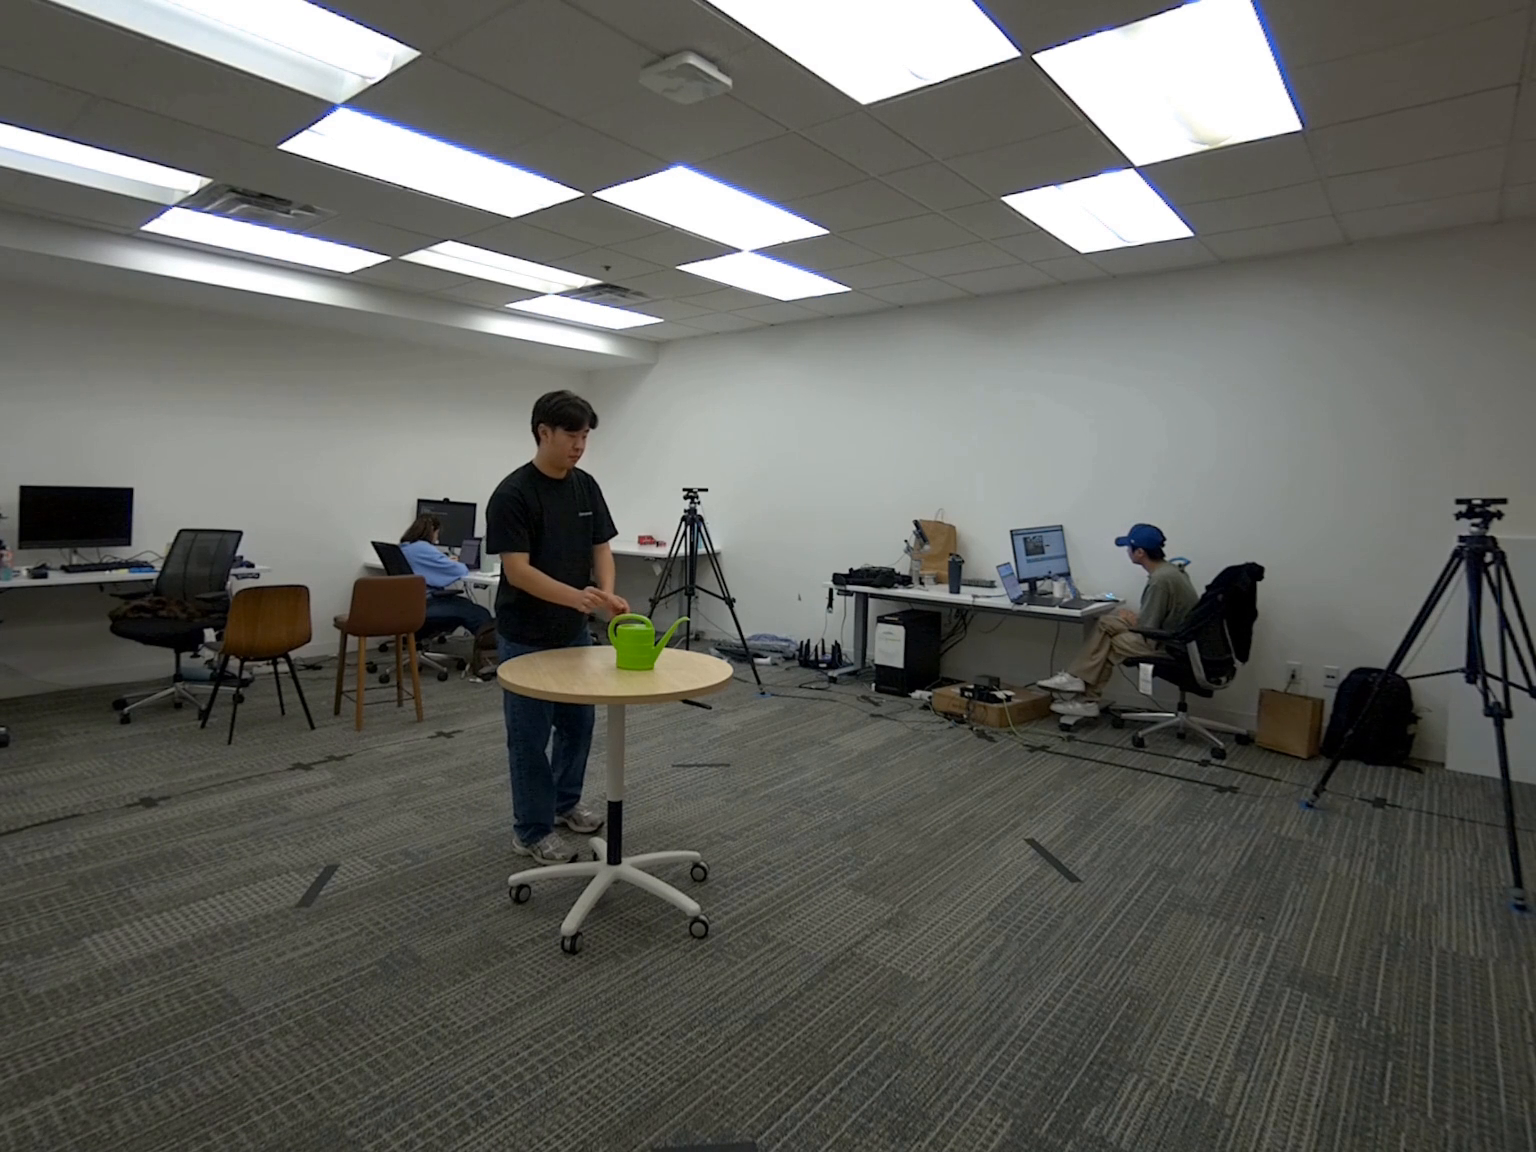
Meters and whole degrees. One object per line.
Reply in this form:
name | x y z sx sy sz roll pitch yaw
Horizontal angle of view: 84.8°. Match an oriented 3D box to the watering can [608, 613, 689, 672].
watering can | -0.409 0.213 2.783 0.286 0.176 0.096 2 4 28
